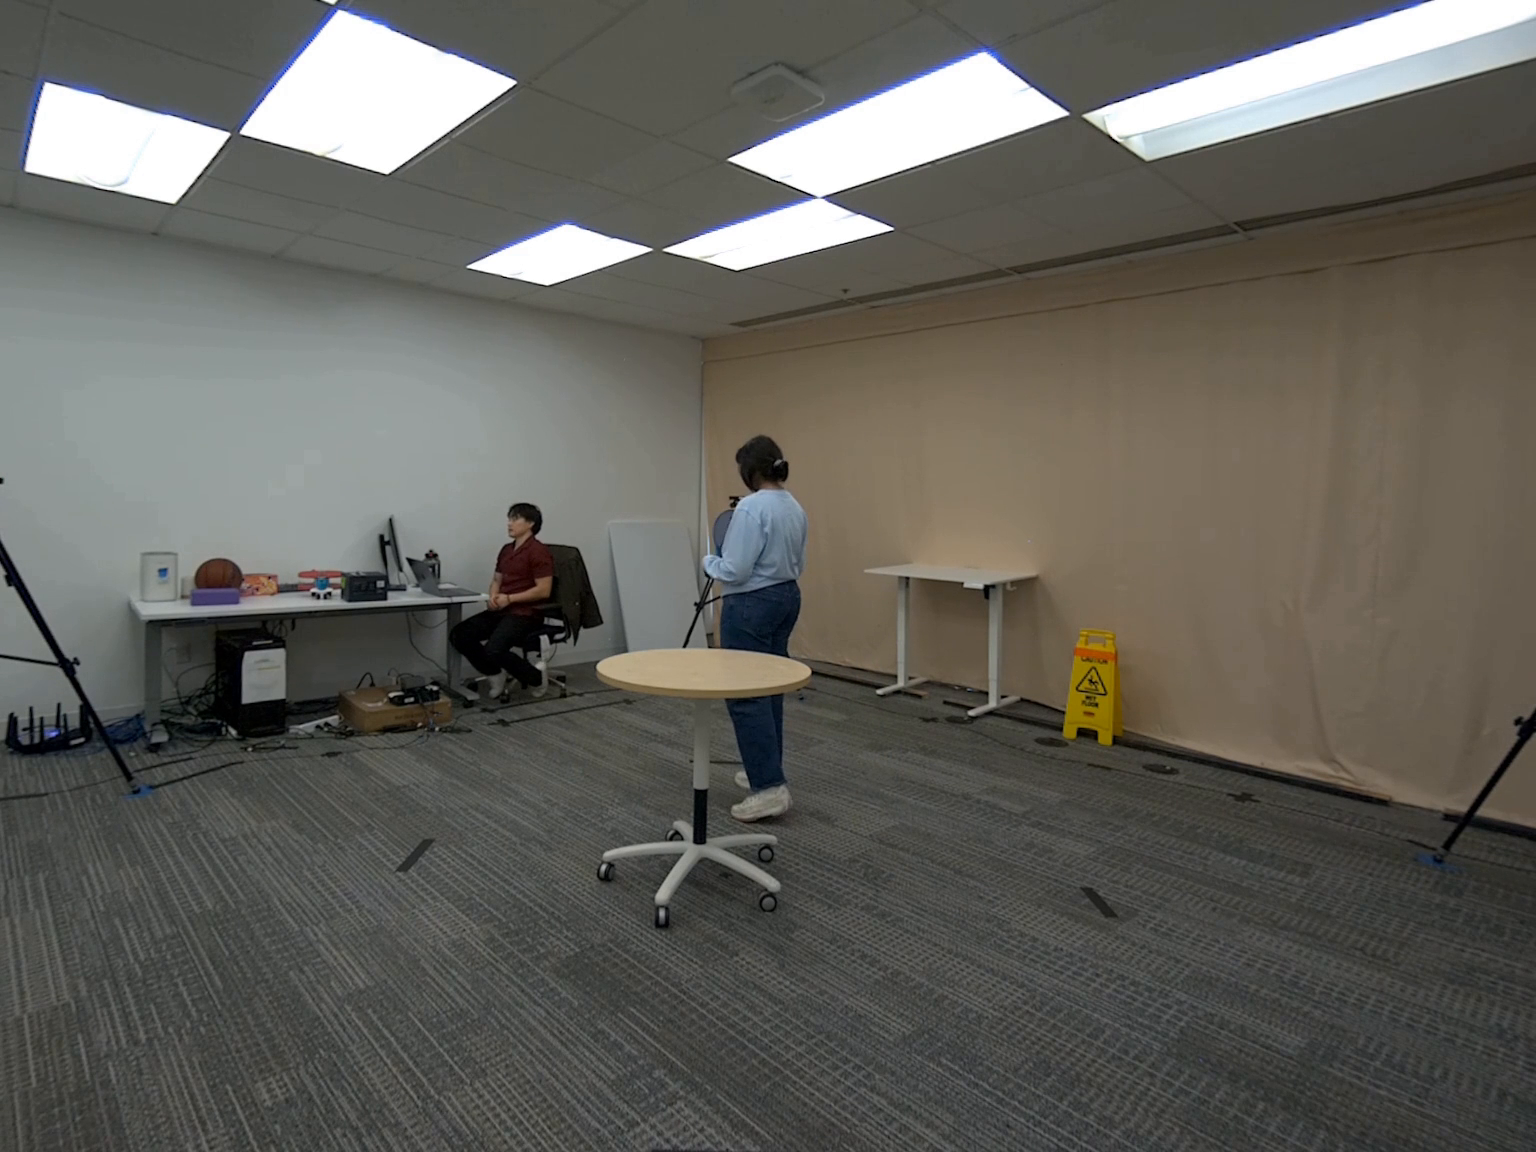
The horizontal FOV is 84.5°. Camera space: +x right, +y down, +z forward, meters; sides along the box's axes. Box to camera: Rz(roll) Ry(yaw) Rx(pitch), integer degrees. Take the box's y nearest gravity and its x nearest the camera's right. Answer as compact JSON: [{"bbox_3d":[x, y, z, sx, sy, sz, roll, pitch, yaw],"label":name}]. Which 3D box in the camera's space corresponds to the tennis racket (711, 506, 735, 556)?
[{"bbox_3d":[-0.204,-0.149,4.092,0.210,0.437,0.032,40,-39,-19],"label":"tennis racket"}]
